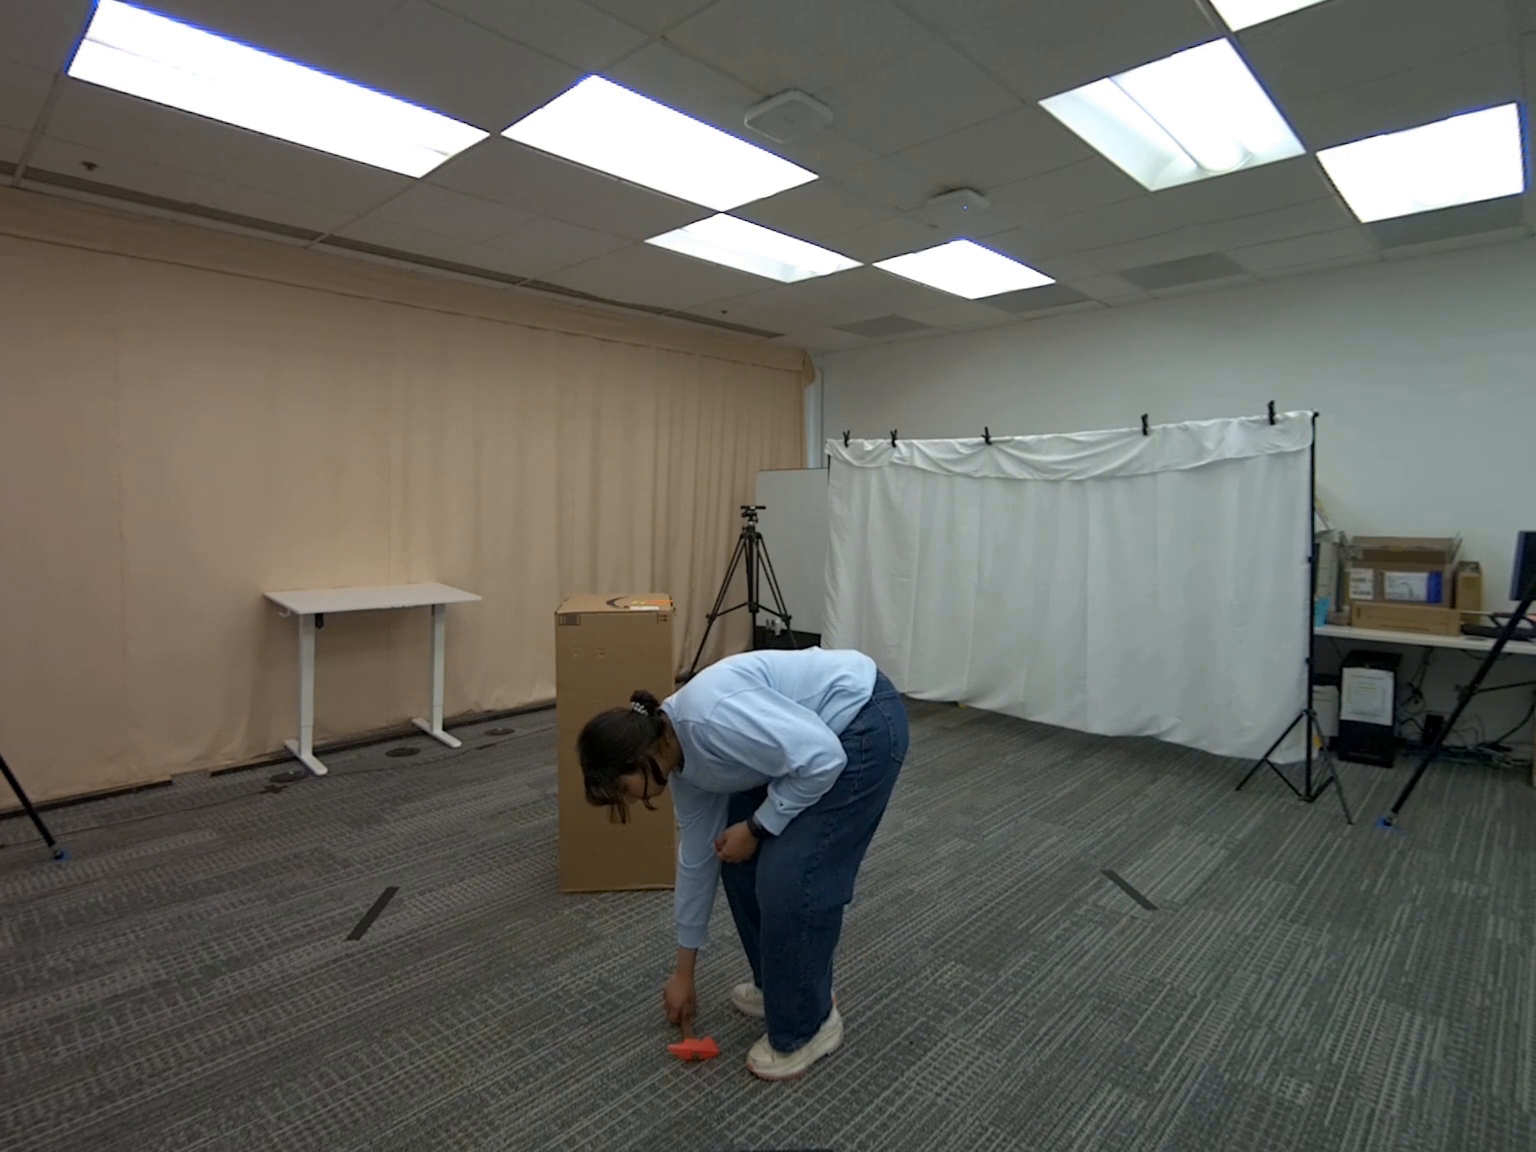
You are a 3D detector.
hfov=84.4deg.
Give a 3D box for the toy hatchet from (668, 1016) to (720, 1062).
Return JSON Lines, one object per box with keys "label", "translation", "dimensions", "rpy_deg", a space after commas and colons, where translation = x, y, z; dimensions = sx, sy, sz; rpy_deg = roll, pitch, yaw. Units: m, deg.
{"label": "toy hatchet", "translation": [-0.175, 1.187, 2.235], "dimensions": [0.132, 0.029, 0.269], "rpy_deg": [9, 4, 4]}
